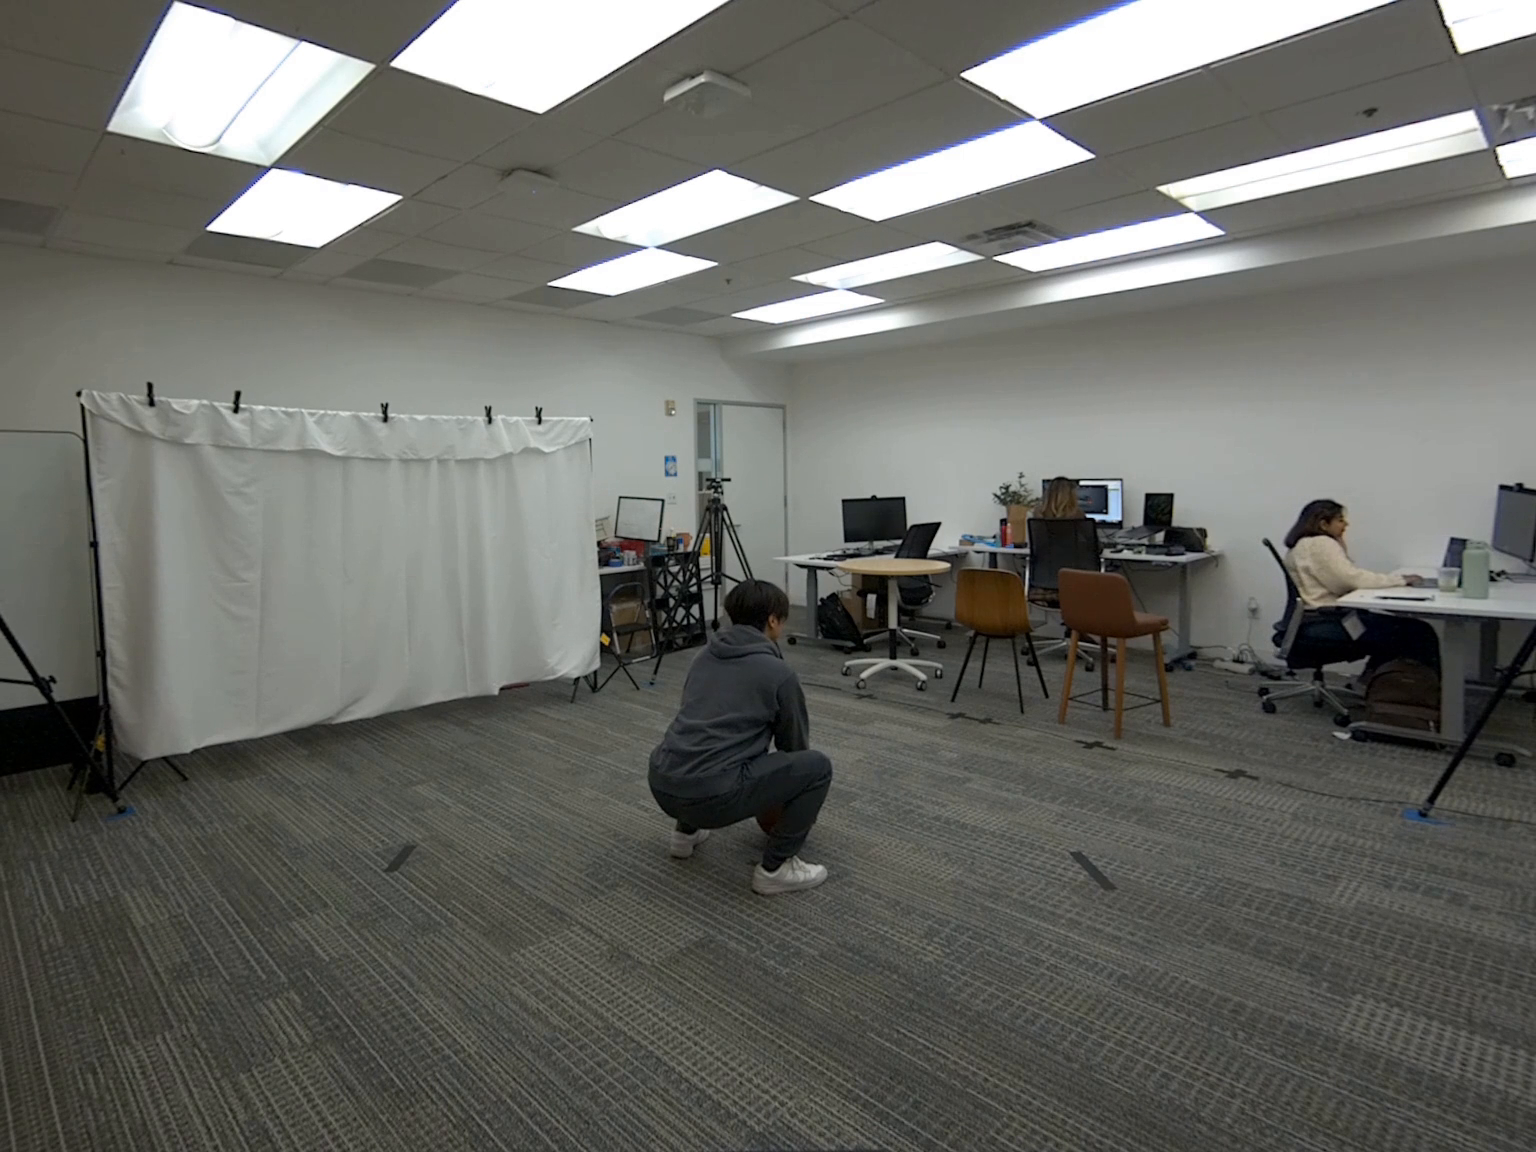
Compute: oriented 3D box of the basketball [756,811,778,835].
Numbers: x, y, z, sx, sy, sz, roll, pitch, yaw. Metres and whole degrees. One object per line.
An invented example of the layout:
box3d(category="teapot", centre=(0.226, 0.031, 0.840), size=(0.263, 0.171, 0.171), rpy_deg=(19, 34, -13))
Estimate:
box3d(category="basketball", centre=(0.077, 0.892, 3.298), size=(0.236, 0.235, 0.237), rpy_deg=(-1, 5, -2))
